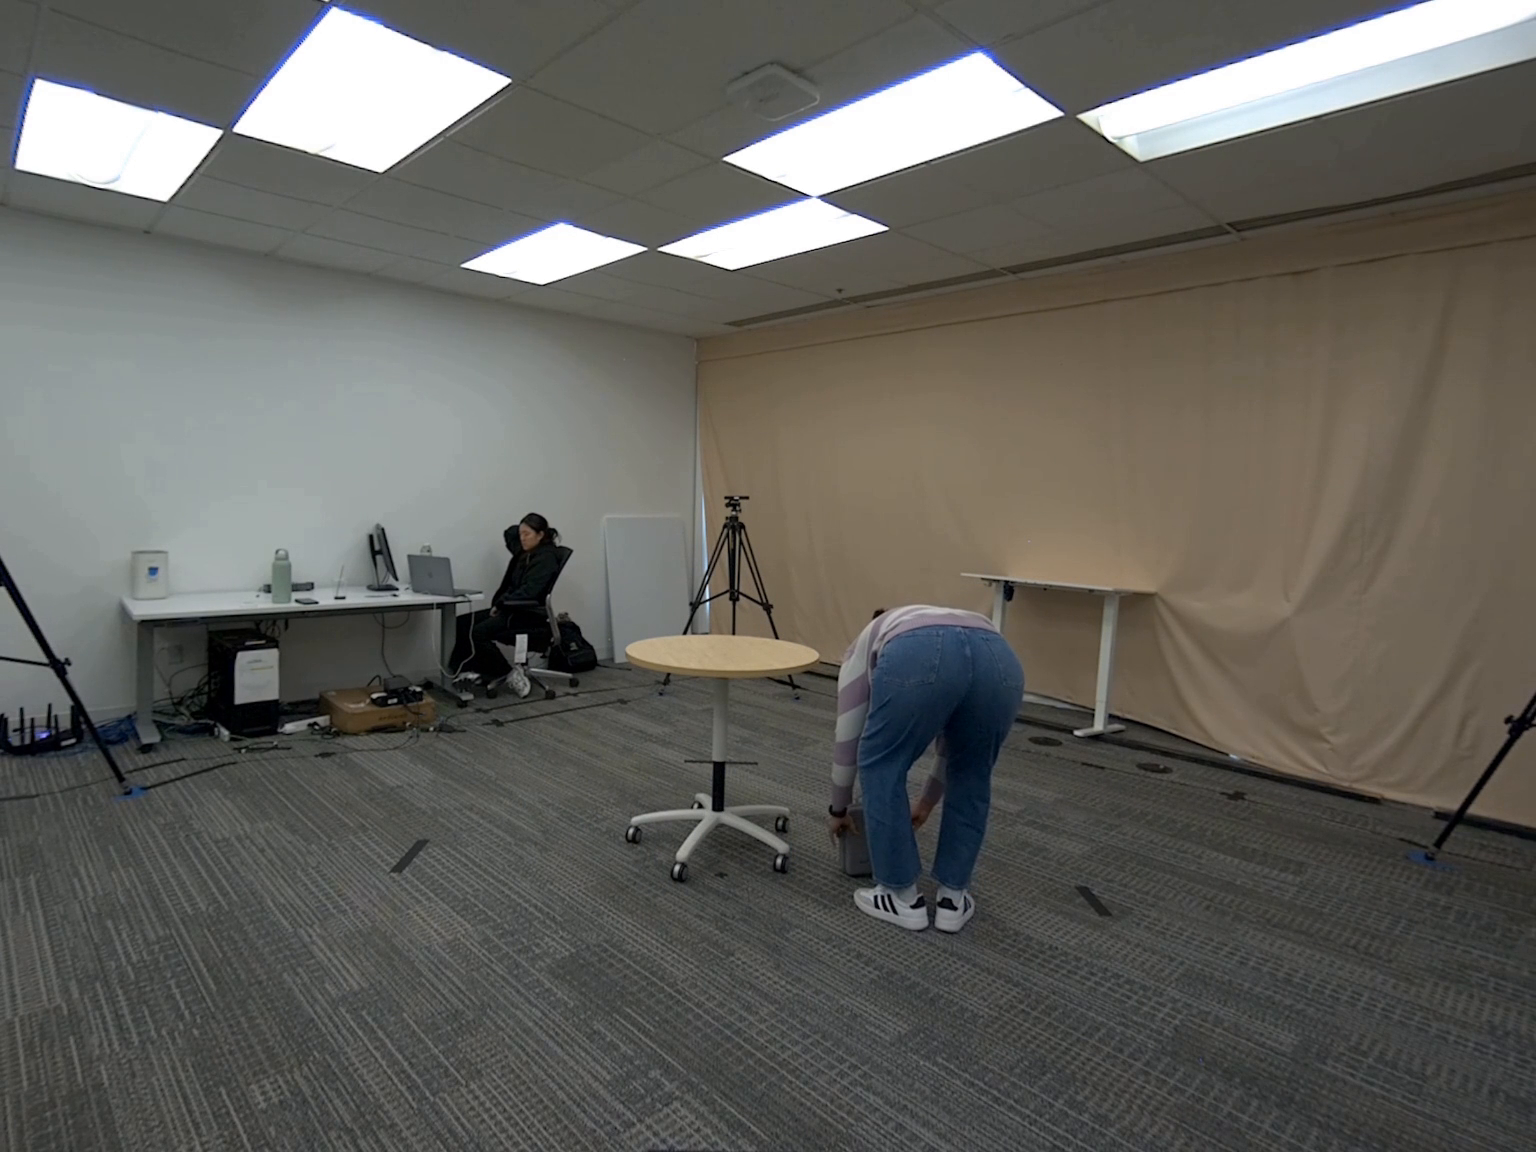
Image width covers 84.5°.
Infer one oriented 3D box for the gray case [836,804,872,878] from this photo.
[{"bbox_3d":[0.396,0.977,3.171,0.254,0.261,0.105,0,-4,-15],"label":"gray case"}]
